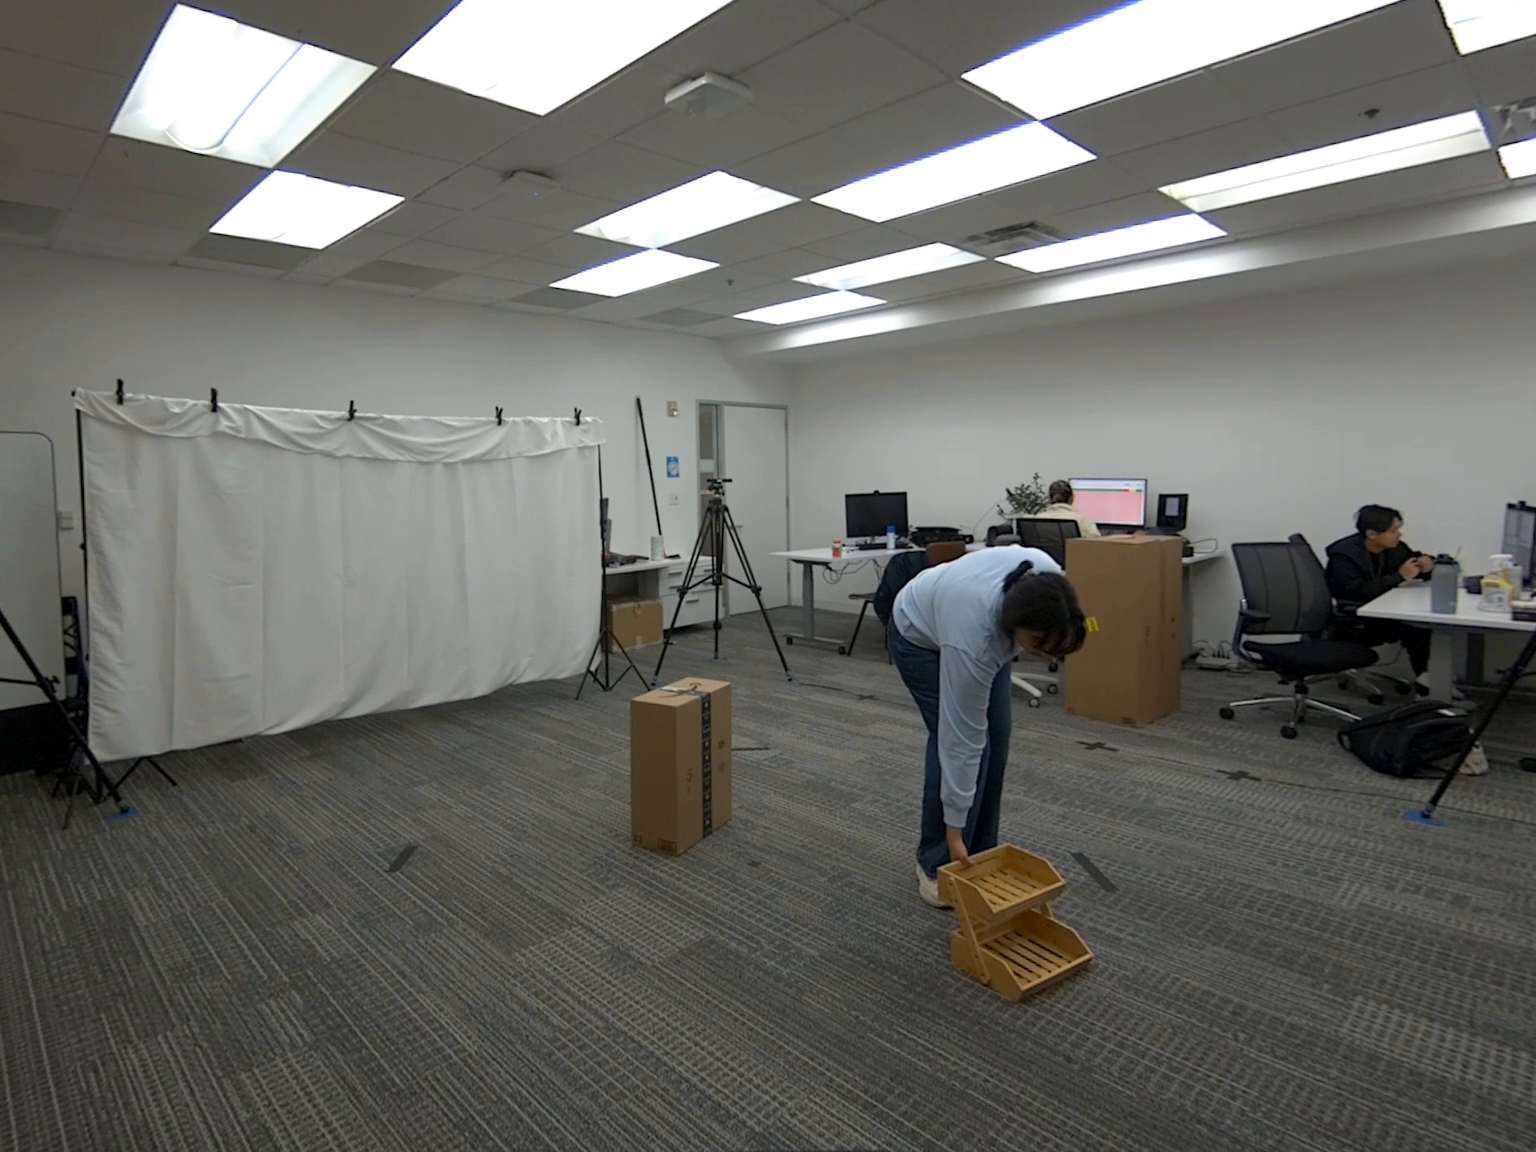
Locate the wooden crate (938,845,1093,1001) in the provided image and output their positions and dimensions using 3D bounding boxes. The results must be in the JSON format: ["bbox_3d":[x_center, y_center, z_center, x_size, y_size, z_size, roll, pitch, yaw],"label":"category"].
[{"bbox_3d":[0.710,0.980,2.436,0.316,0.272,0.311,-5,5,-34],"label":"wooden crate"}]
